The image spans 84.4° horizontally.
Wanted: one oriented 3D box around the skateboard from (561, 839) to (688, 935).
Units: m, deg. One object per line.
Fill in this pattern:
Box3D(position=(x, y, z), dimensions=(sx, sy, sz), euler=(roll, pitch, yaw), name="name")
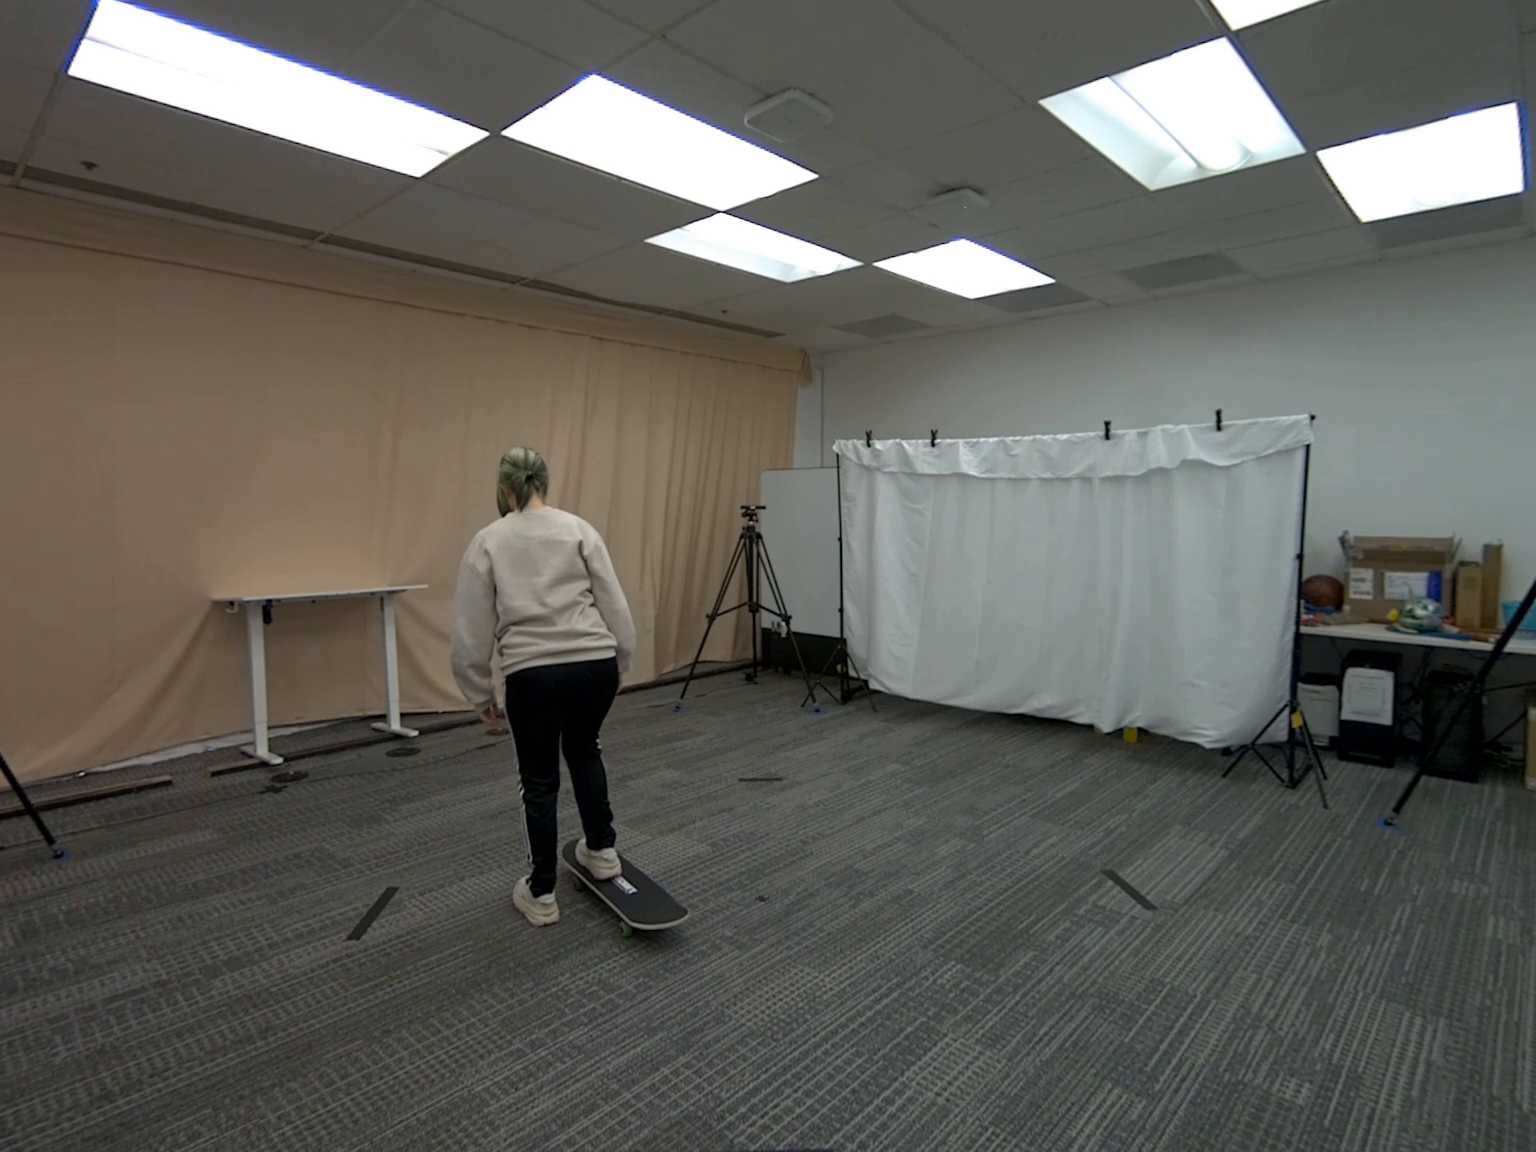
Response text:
Box3D(position=(-0.515, 1.104, 2.928), dimensions=(0.188, 0.110, 0.810), euler=(-5, 6, -34), name="skateboard")
